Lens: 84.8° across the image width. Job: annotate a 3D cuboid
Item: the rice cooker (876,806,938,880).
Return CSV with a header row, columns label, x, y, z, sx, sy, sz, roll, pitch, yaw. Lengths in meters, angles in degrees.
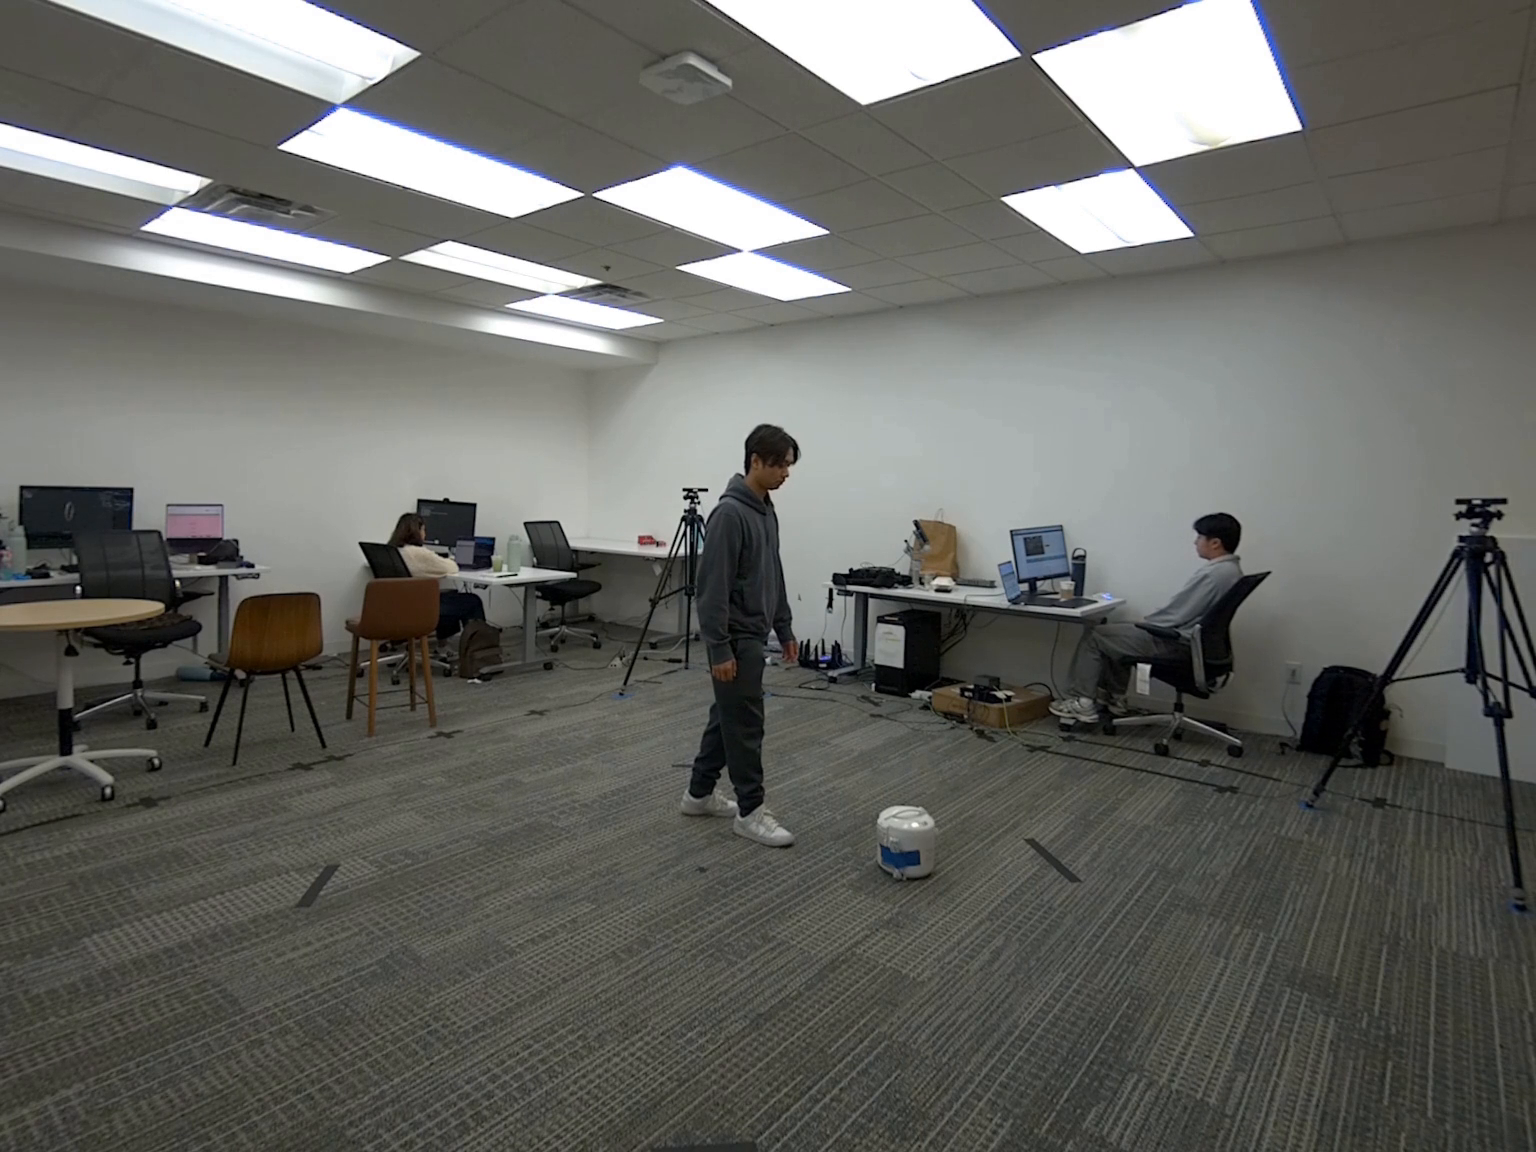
label,x,y,z,sx,sy,sz,roll,pitch,yaw
rice cooker,0.504,0.964,3.153,0.216,0.232,0.223,0,6,-20
